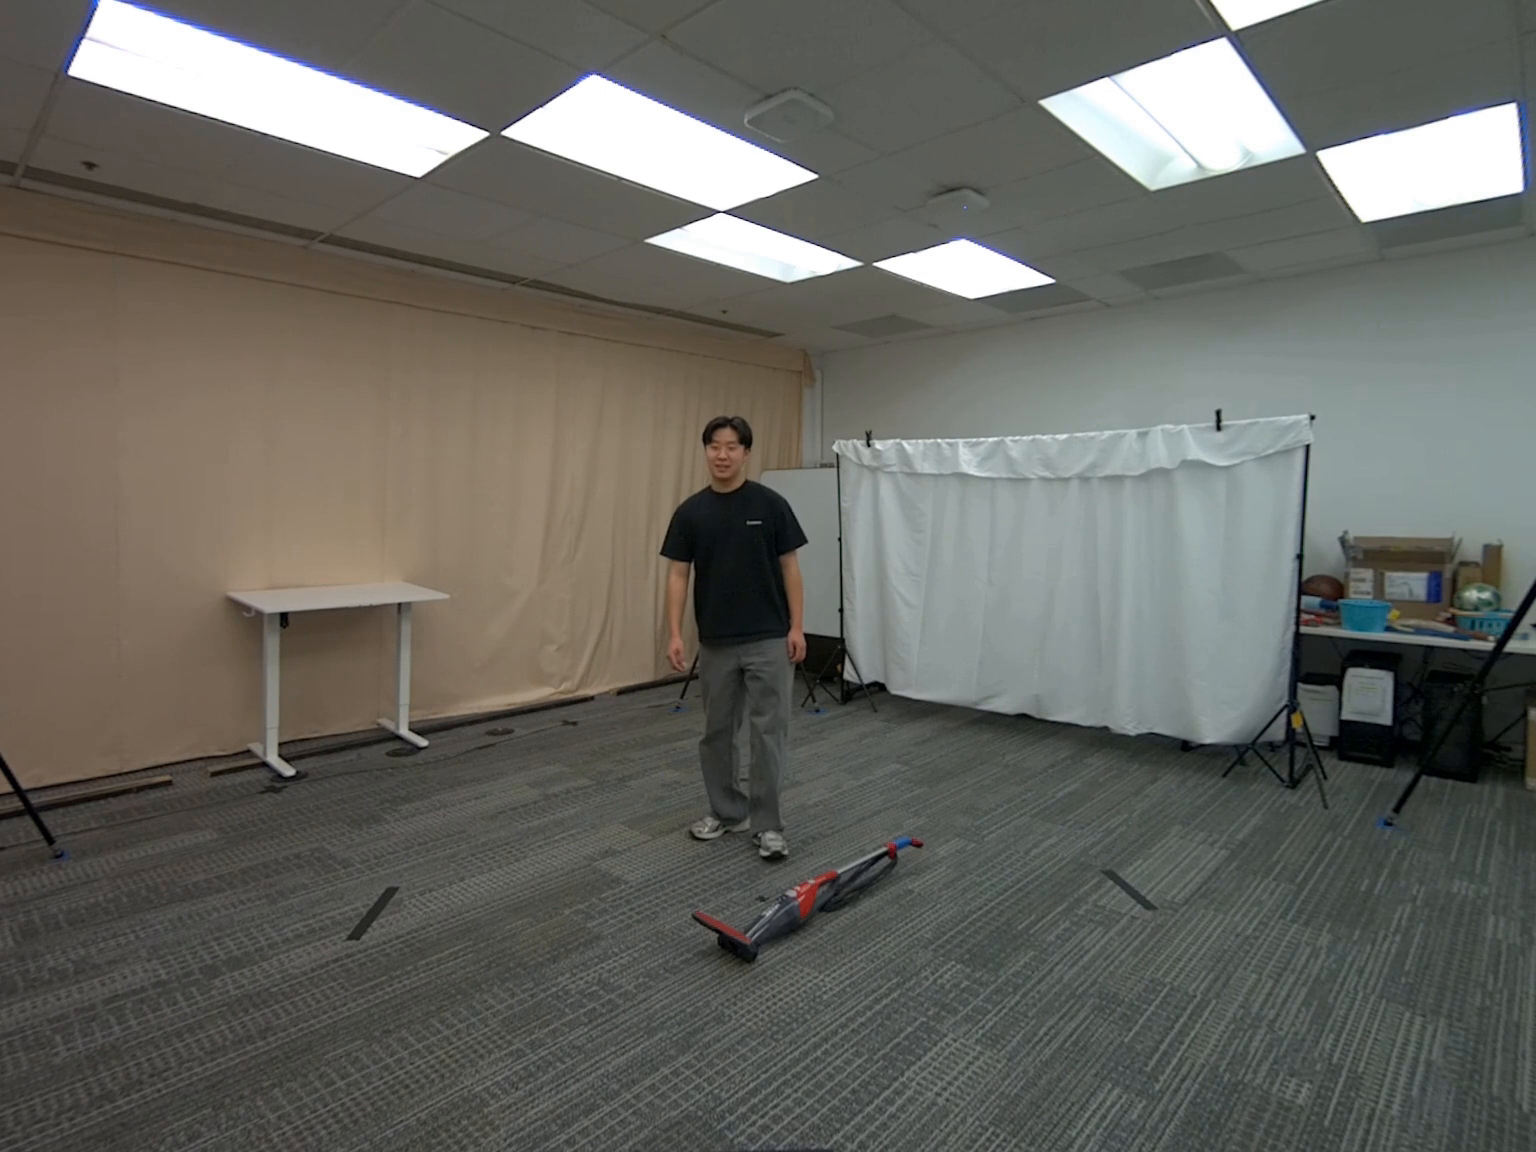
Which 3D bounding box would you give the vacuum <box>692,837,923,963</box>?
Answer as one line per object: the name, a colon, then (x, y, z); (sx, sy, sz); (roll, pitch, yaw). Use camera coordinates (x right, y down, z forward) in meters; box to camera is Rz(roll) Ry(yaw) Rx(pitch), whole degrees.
vacuum: (0.239, 1.088, 2.937); (1.017, 0.144, 0.261); (-4, 4, -44)
